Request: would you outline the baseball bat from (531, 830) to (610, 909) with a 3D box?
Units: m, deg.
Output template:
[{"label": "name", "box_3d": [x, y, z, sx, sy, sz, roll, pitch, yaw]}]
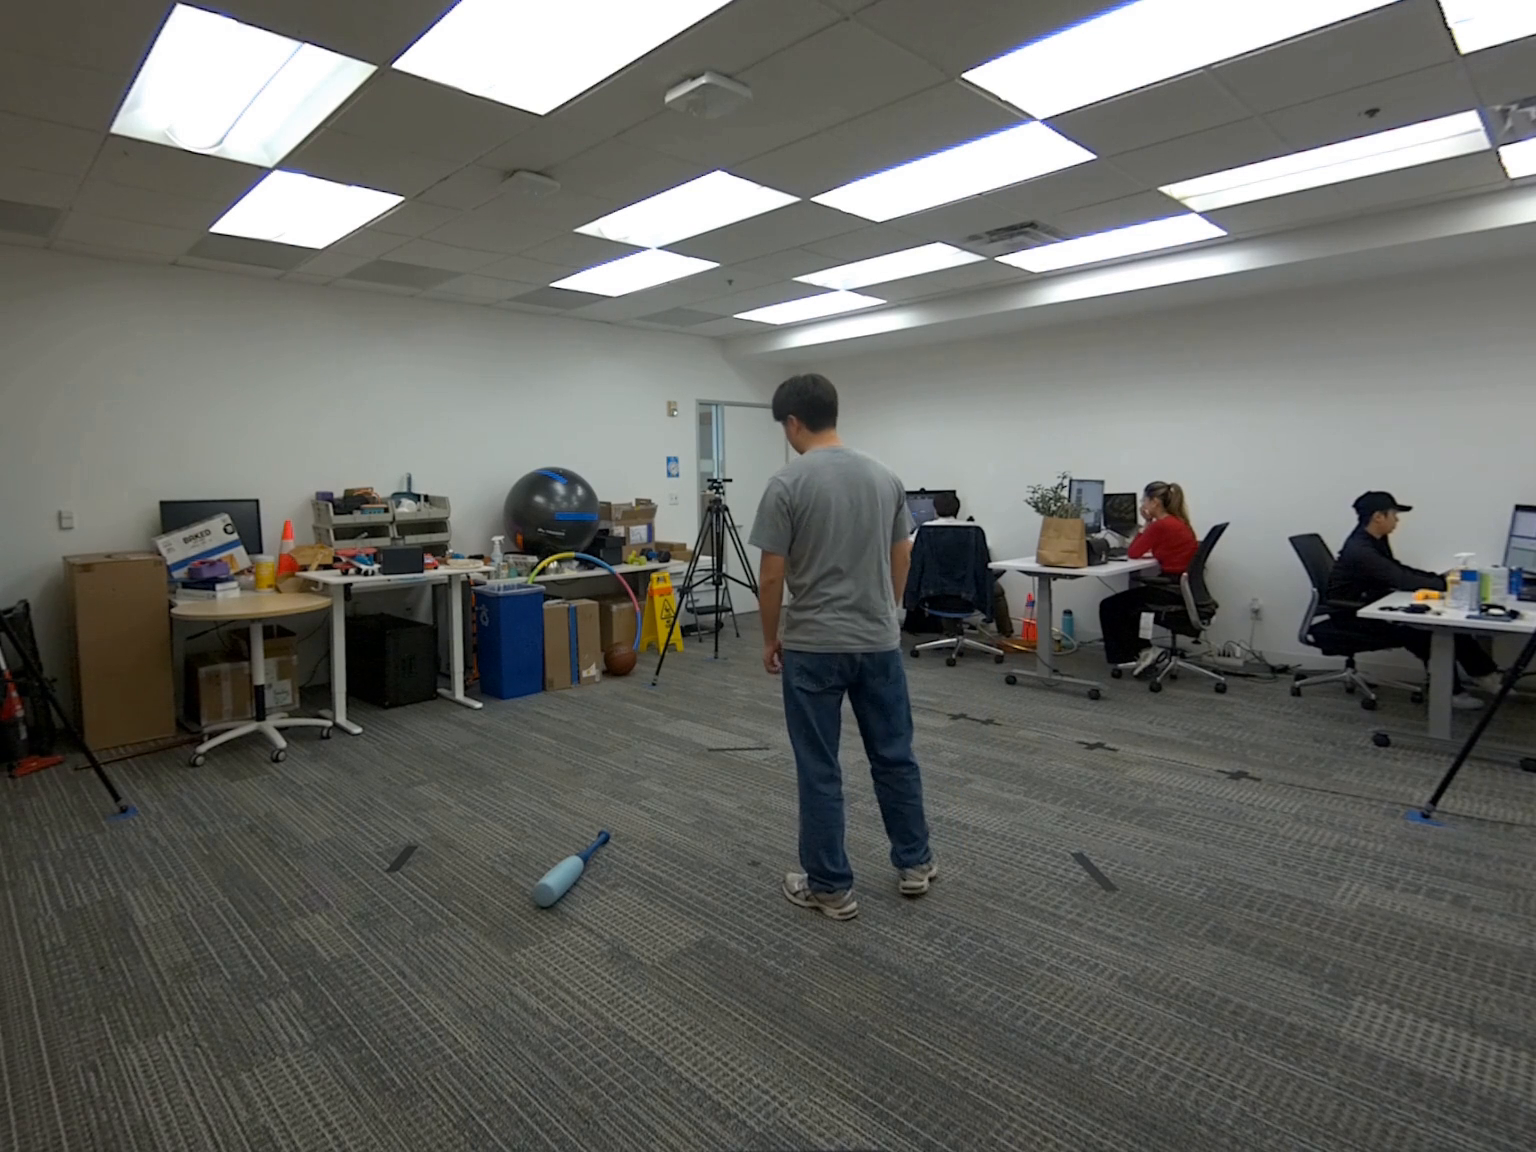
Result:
[{"label": "baseball bat", "box_3d": [-0.682, 1.026, 3.054, 0.090, 0.089, 0.538, 0, 4, 10]}]
